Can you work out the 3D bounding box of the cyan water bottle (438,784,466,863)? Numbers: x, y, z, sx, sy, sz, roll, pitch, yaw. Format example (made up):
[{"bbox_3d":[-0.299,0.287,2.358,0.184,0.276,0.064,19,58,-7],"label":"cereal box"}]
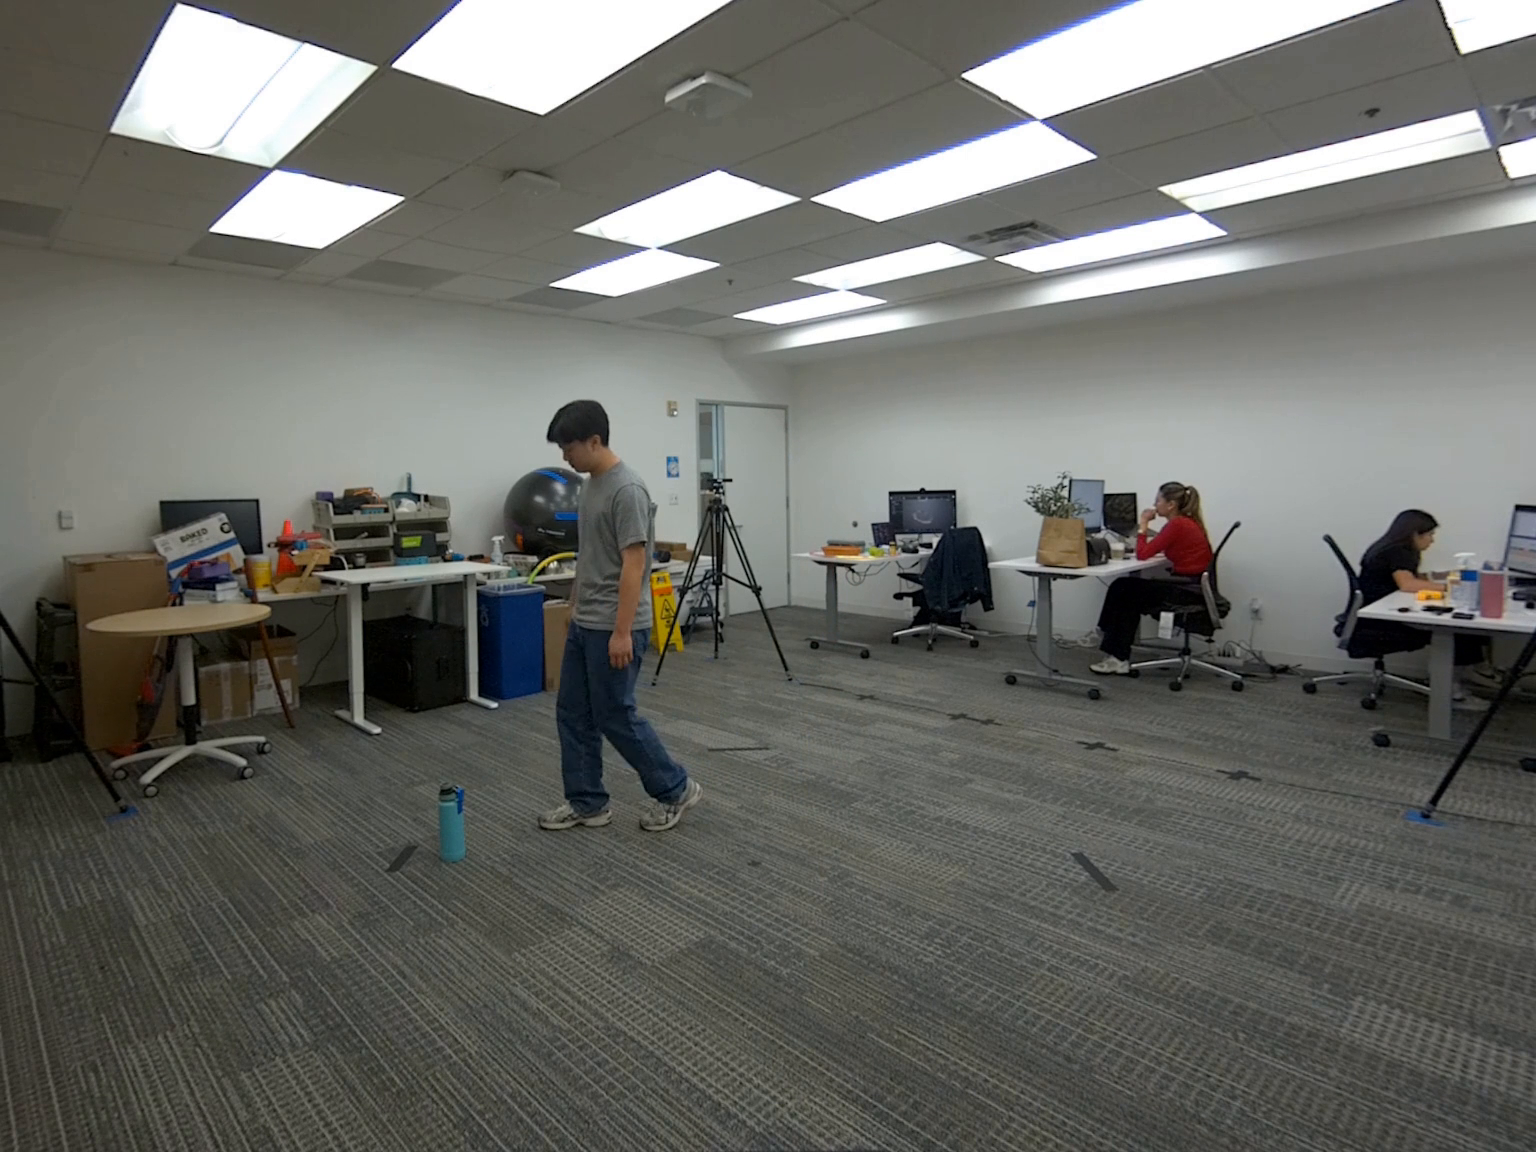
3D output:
[{"bbox_3d":[-1.184,0.918,3.201,0.092,0.282,0.093,-1,4,-2],"label":"cyan water bottle"}]
